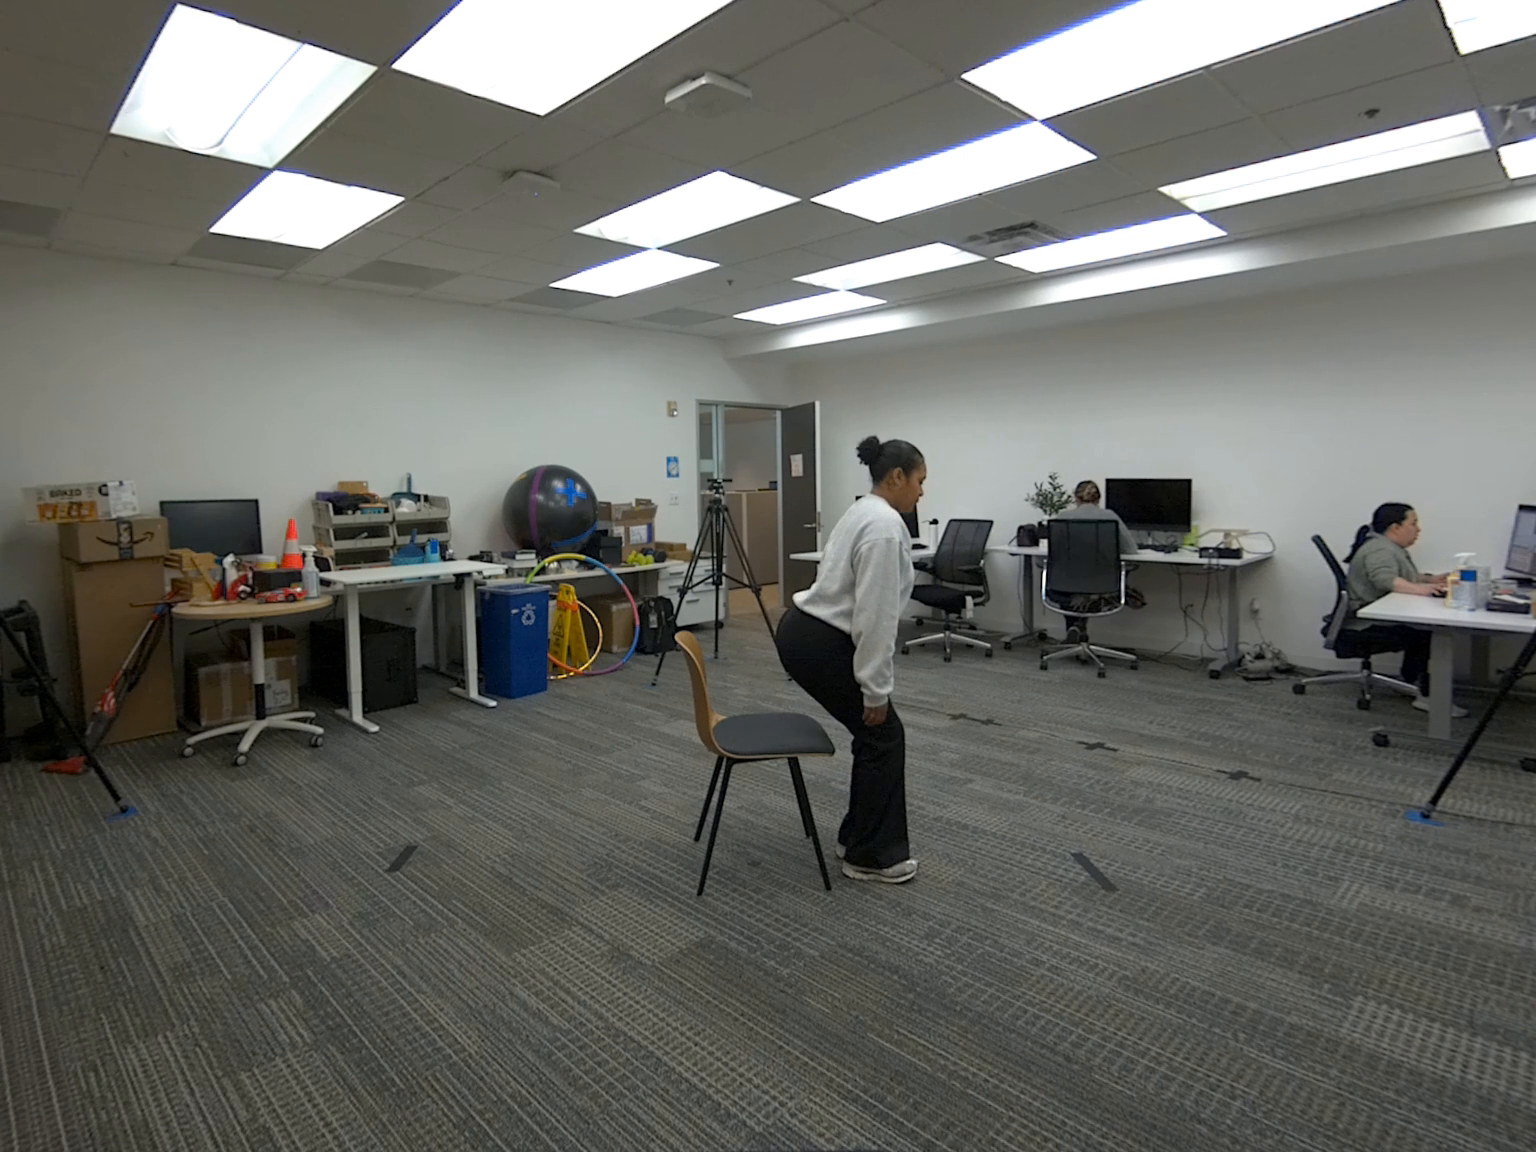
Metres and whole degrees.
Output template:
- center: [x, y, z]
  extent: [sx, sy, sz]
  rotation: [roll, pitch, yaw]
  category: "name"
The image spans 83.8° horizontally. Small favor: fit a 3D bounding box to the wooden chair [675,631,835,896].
- center: [-0.035, 0.617, 3.070]
  extent: [0.521, 0.874, 0.482]
  rotation: [-5, 4, -5]
  category: "wooden chair"
